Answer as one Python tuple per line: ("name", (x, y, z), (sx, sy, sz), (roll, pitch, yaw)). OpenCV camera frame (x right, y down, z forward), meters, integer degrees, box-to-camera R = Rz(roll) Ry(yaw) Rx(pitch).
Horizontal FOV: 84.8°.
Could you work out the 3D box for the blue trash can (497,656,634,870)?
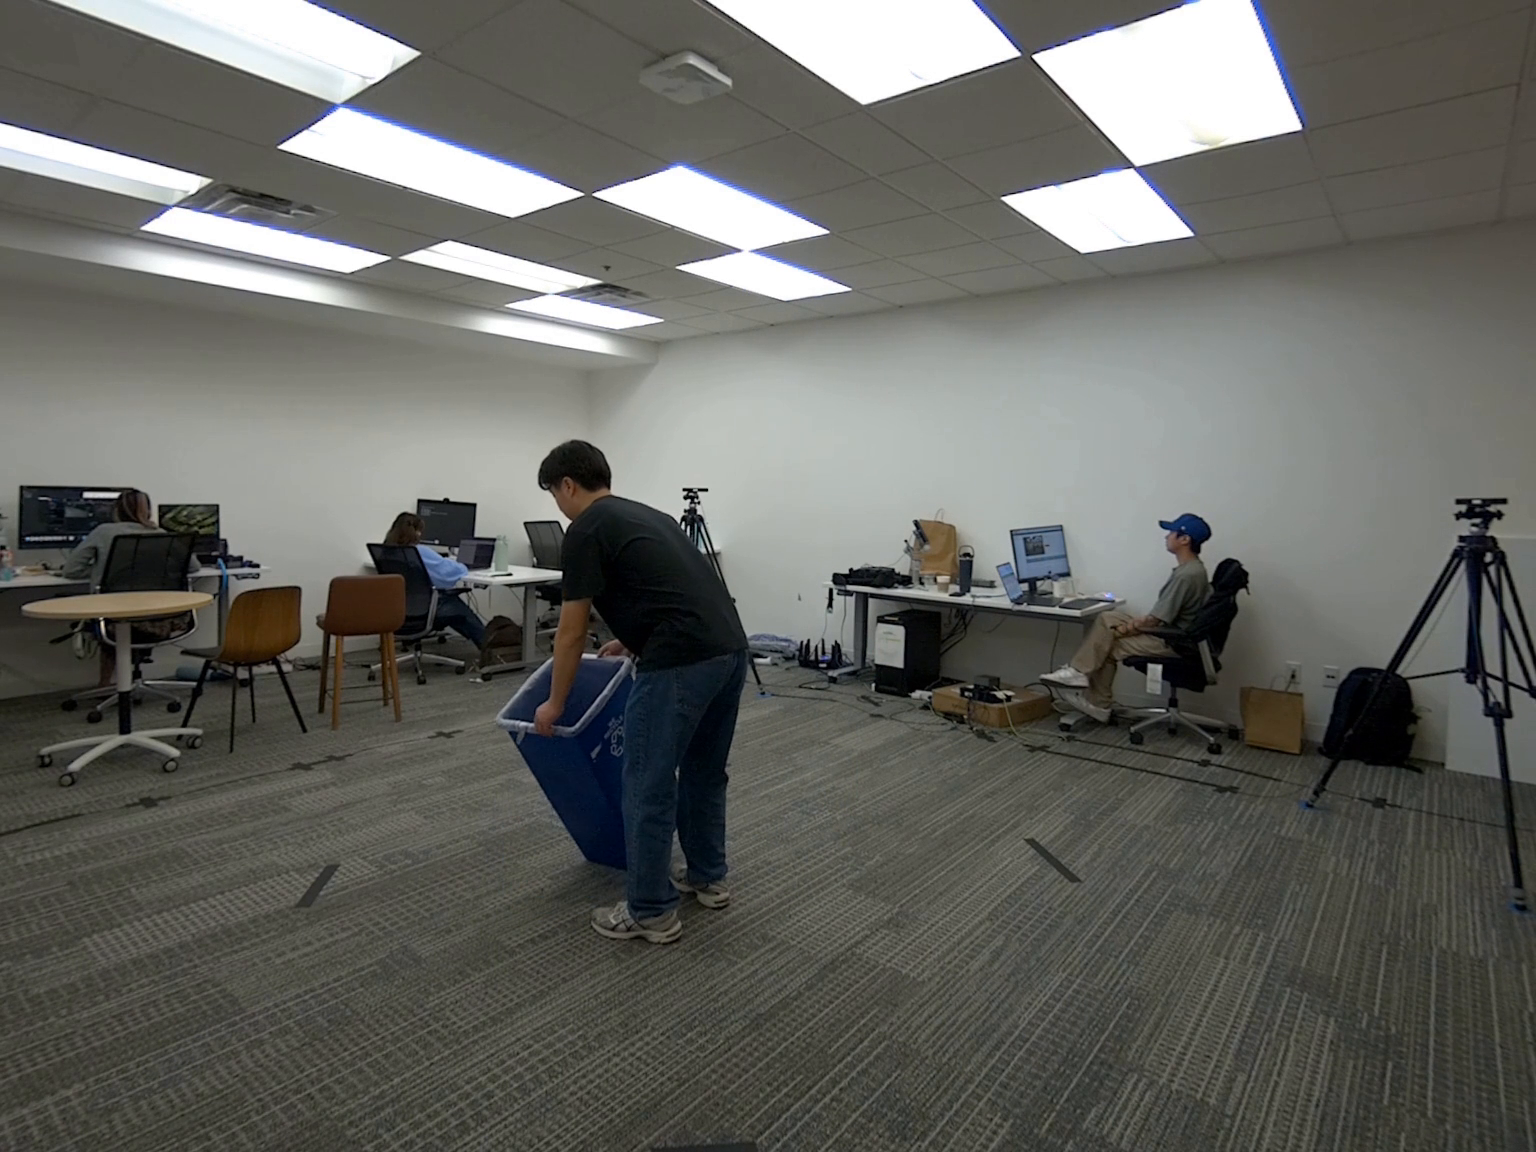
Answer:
("blue trash can", (-0.617, 0.677, 3.039), (0.389, 0.692, 0.375), (-1, 32, 31))
